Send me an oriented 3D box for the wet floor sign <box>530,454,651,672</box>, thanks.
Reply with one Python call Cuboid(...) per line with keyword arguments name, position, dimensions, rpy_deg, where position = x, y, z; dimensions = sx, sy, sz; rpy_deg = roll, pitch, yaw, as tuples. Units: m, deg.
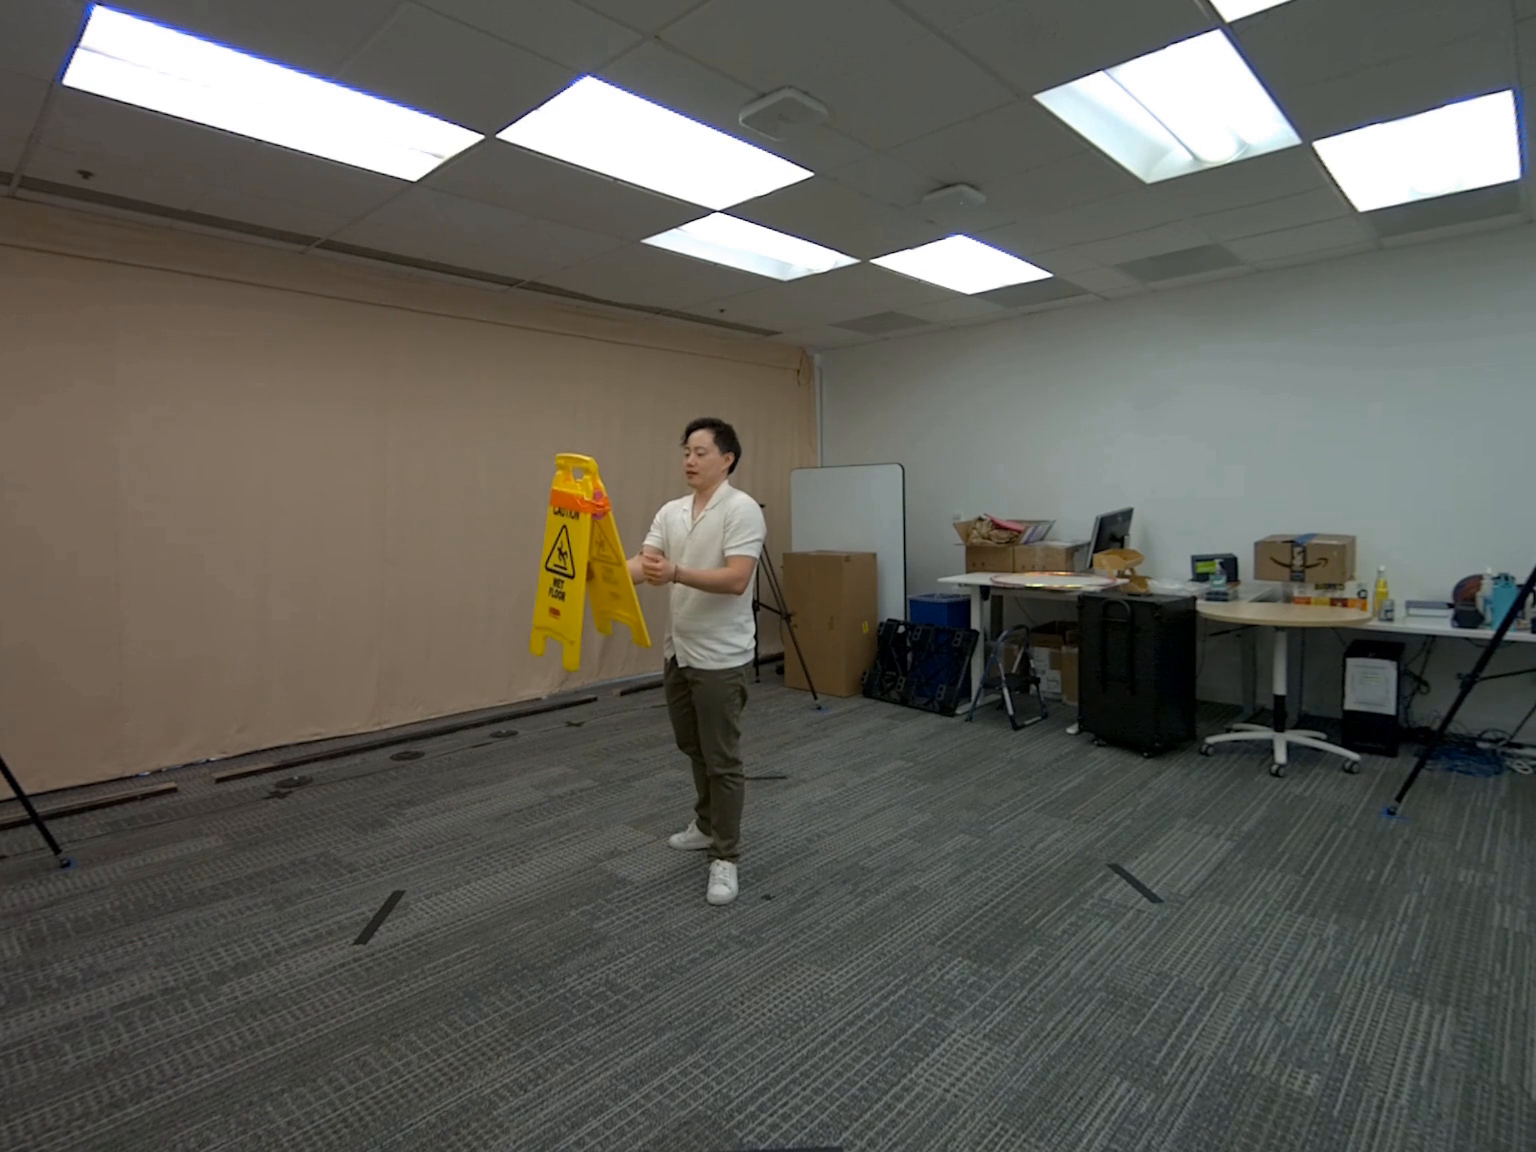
Cuboid(name="wet floor sign", position=(-0.595, -0.064, 2.698), dimensions=(0.282, 0.640, 0.292), rpy_deg=(-15, 19, -42))
